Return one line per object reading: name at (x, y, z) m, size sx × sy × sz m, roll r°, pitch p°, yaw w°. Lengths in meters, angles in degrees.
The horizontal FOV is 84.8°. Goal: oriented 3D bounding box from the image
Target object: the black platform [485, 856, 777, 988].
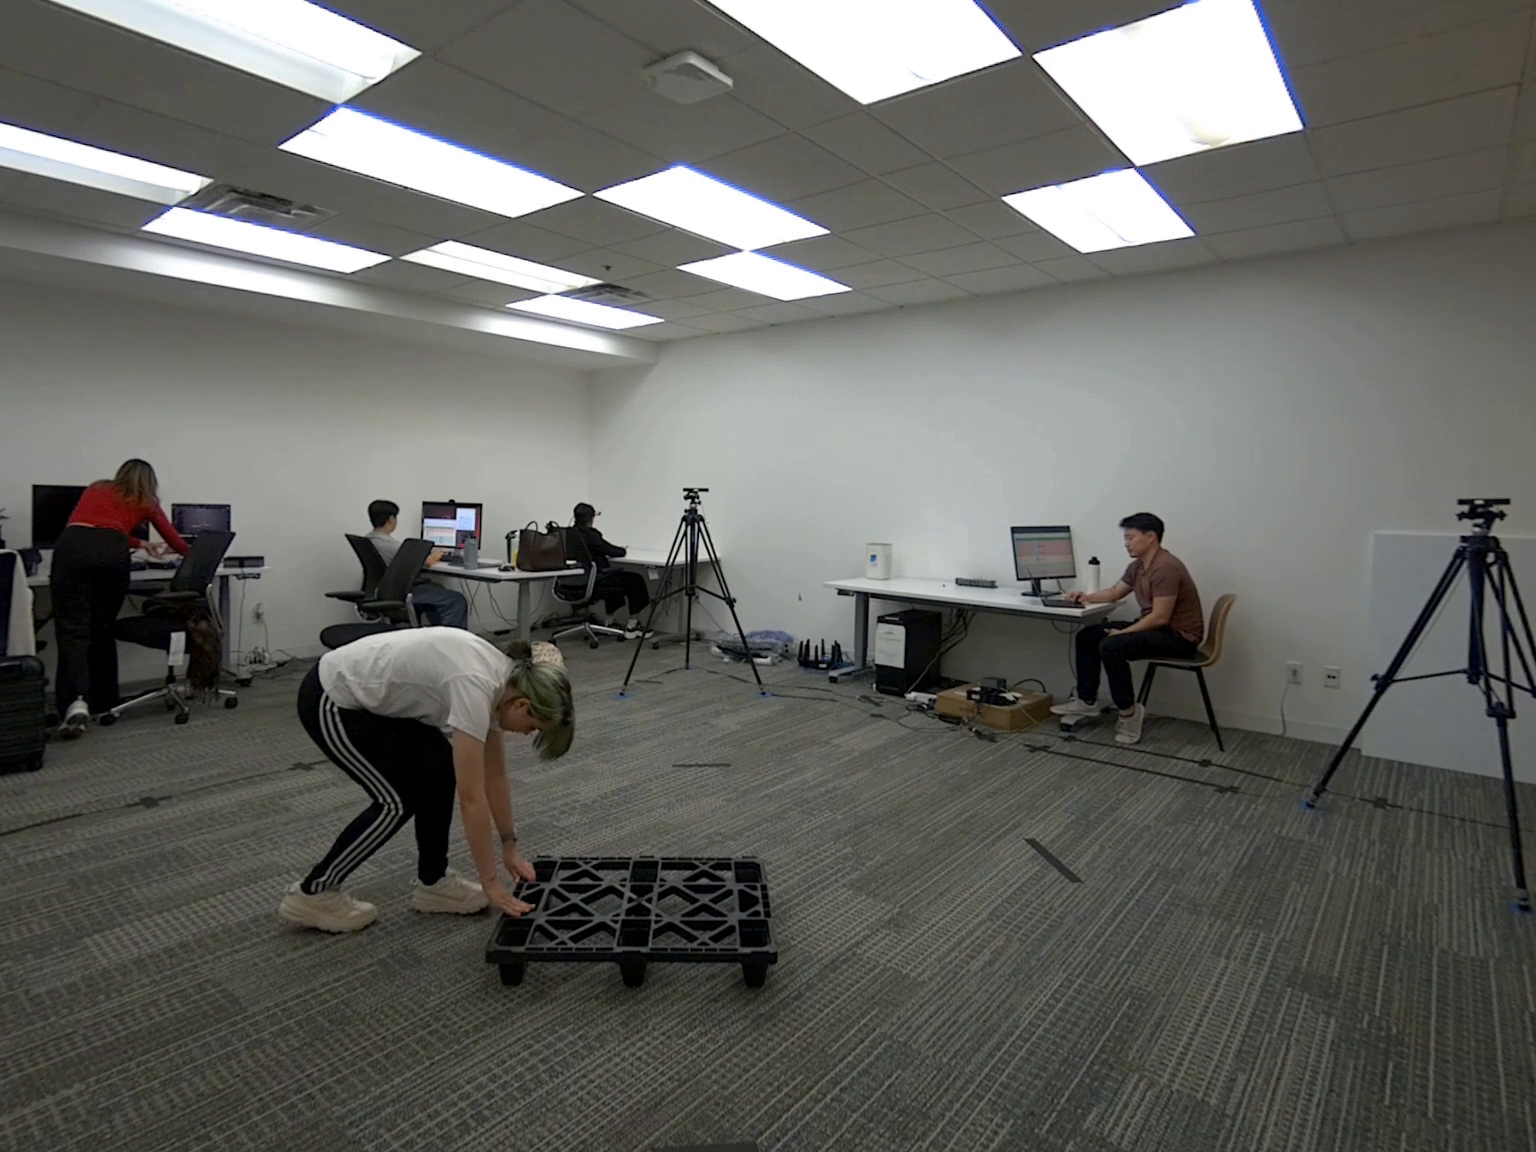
black platform at (-0.397, 1.051, 2.594) m, size 0.805 × 0.142 × 0.609 m, roll 0°, pitch 7°, yaw -2°
